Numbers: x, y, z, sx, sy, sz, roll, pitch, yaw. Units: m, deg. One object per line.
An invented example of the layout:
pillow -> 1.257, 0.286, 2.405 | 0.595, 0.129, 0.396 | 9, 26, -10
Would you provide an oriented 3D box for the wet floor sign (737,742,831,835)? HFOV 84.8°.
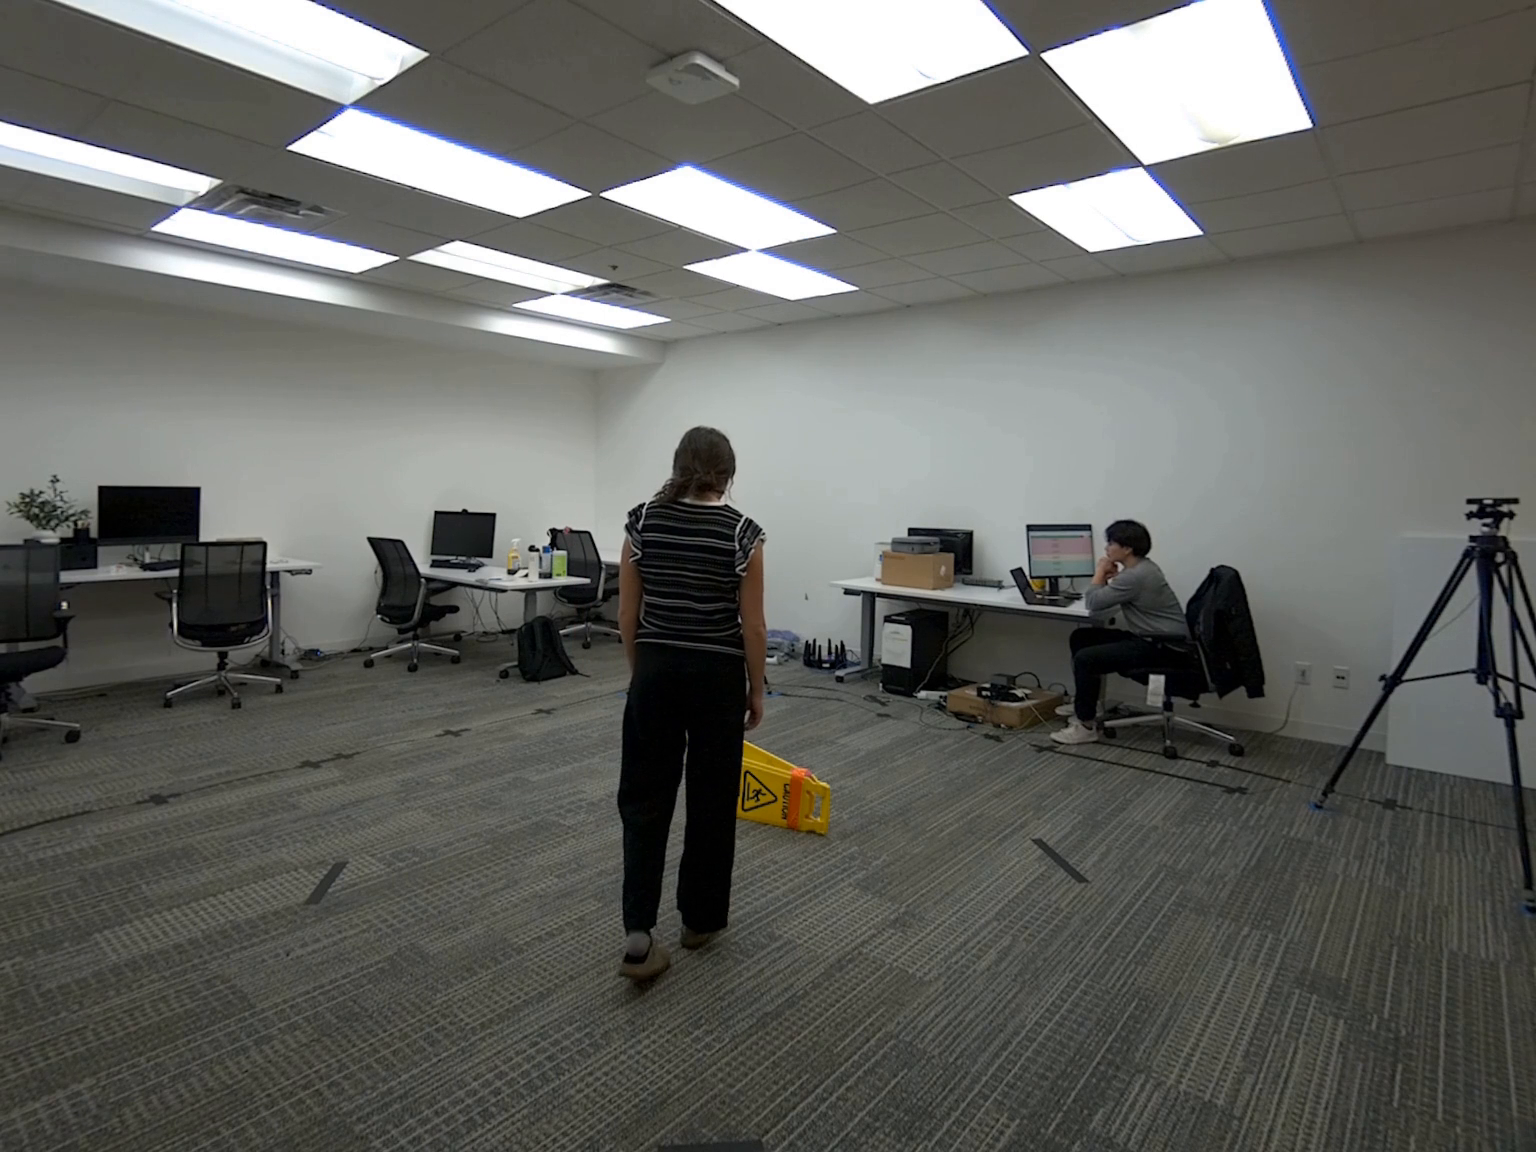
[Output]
wet floor sign -> -0.029, 0.896, 3.620 | 0.668, 0.281, 0.281 | 8, 7, 36
